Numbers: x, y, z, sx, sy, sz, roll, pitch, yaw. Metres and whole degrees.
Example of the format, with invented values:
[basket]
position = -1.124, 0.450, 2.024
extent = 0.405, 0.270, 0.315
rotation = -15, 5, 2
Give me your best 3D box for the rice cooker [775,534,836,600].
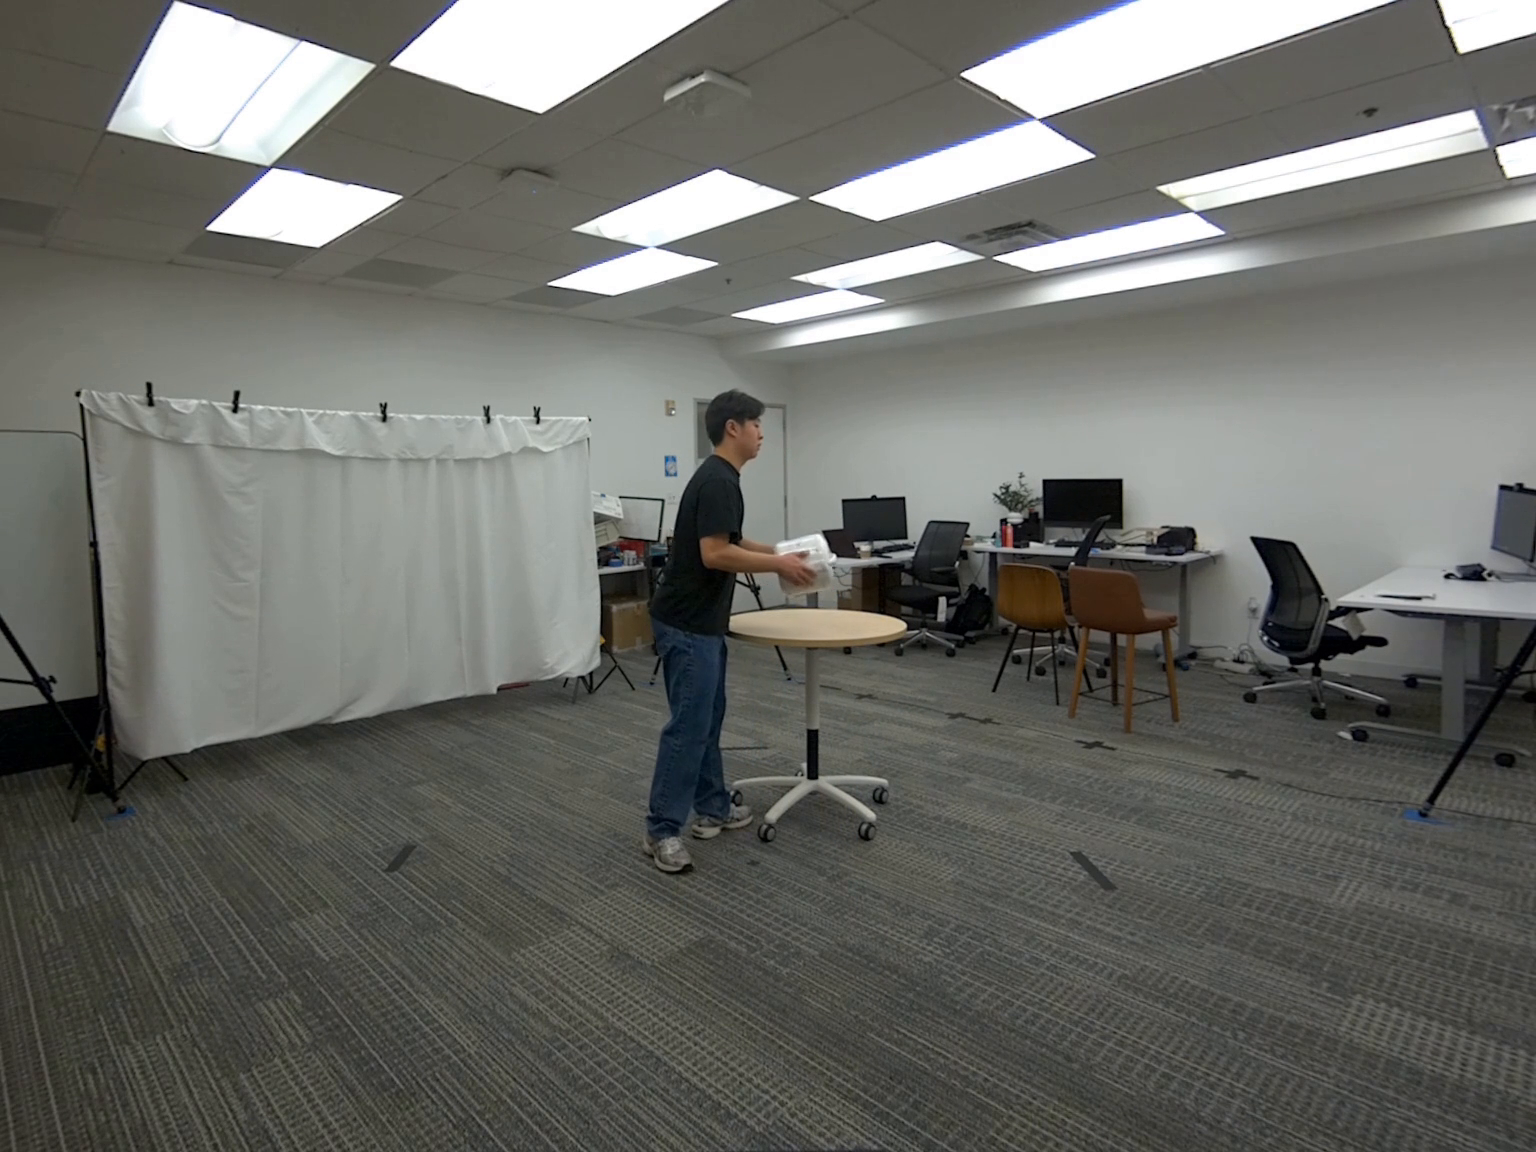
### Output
[rice cooker]
position = 0.144, -0.042, 3.248
extent = 0.234, 0.216, 0.221
rotation = -12, 6, 6
